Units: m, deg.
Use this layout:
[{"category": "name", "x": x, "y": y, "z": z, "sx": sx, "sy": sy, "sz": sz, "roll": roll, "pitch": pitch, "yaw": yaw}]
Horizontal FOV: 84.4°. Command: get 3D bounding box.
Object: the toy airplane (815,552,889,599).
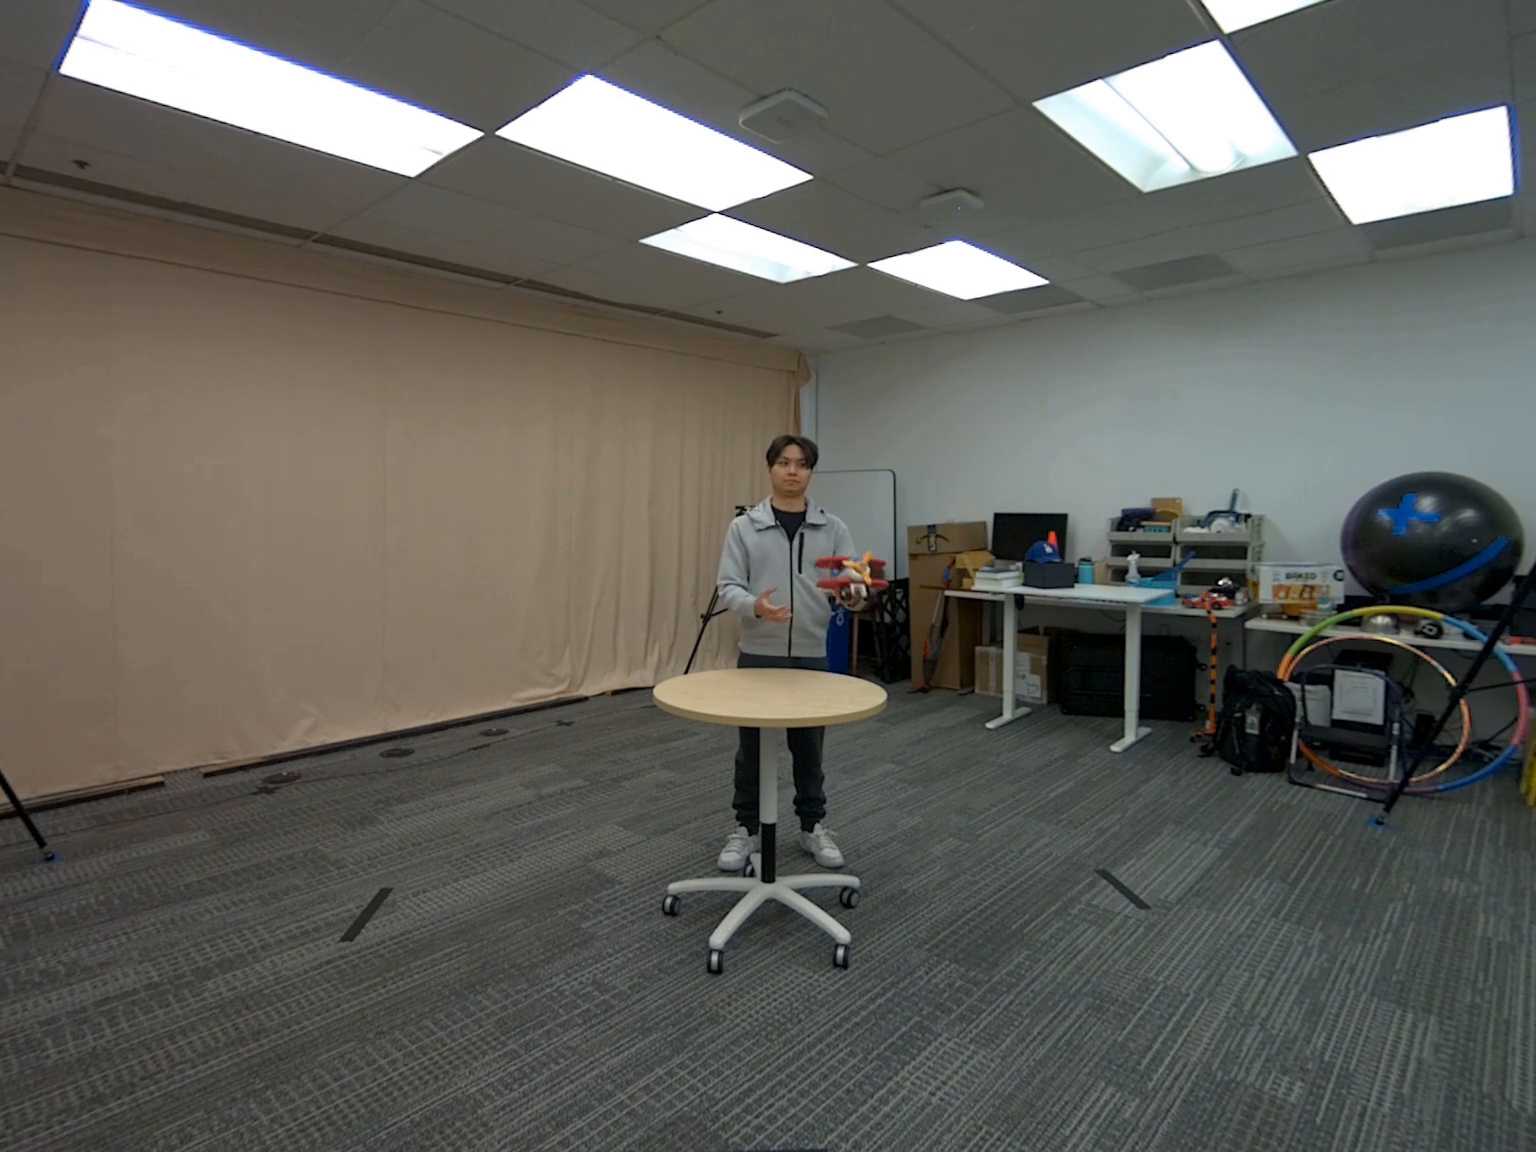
[{"category": "toy airplane", "x": 0.251, "y": 0.002, "z": 2.929, "sx": 0.242, "sy": 0.157, "sz": 0.267, "roll": 7, "pitch": -10, "yaw": -44}]
